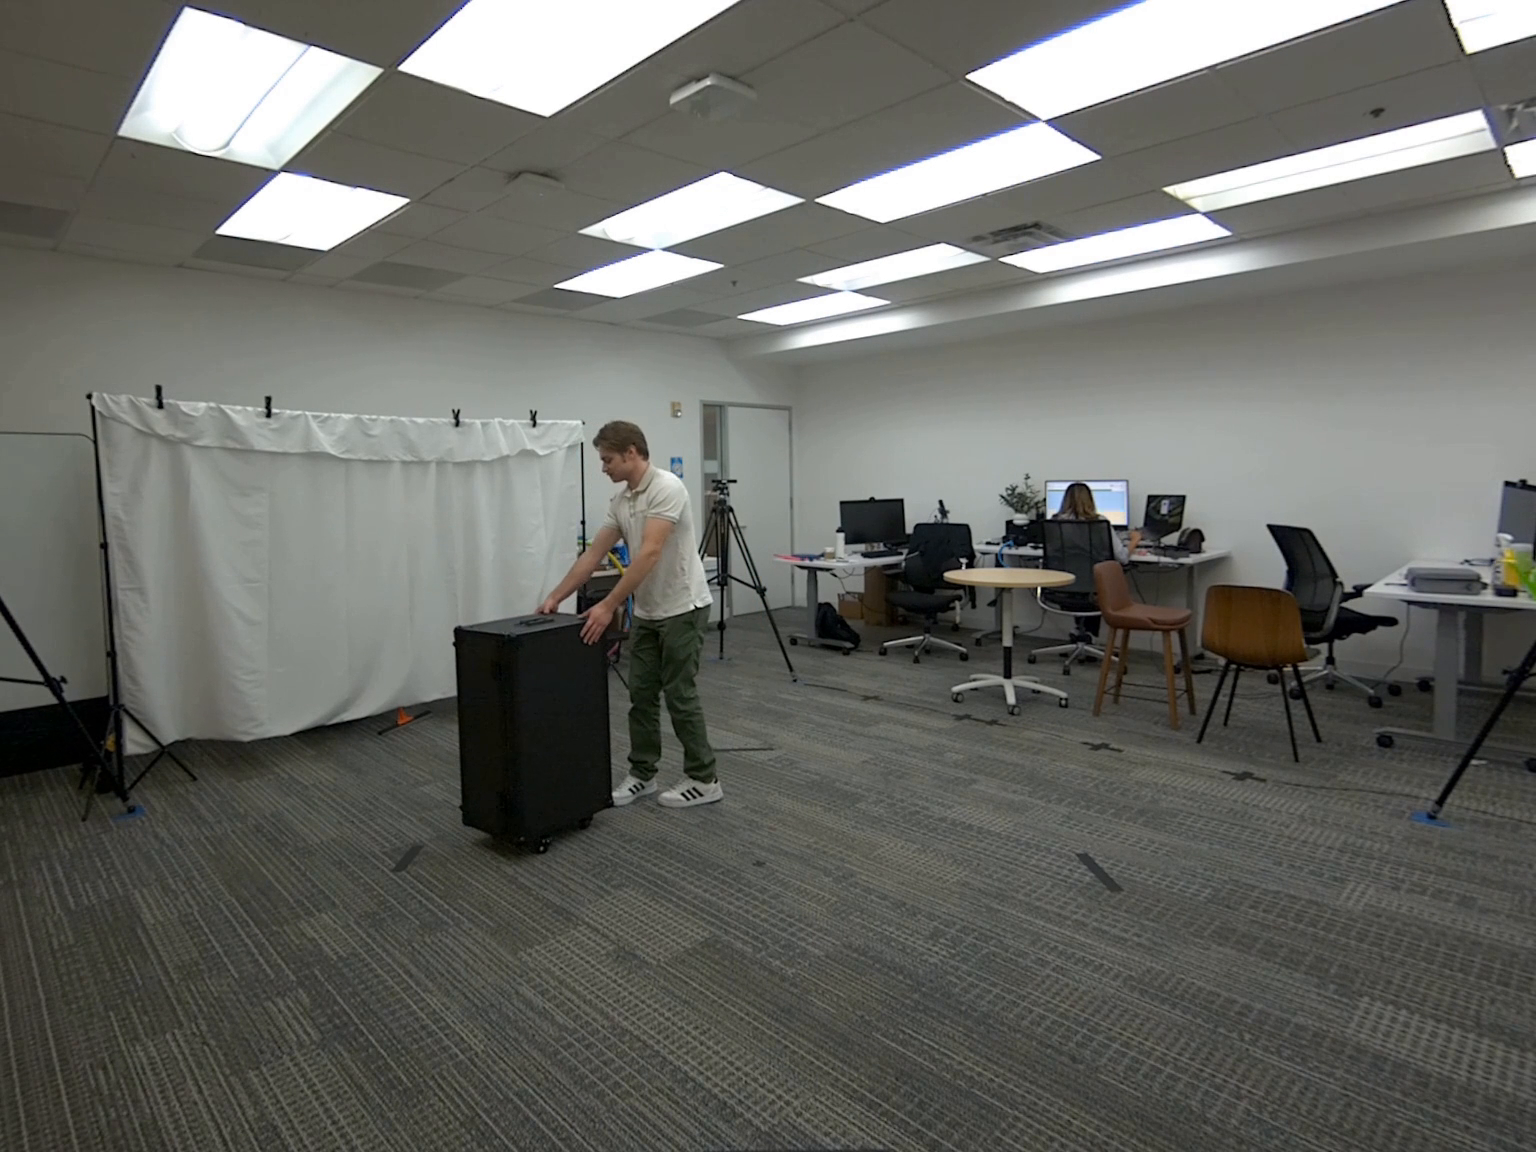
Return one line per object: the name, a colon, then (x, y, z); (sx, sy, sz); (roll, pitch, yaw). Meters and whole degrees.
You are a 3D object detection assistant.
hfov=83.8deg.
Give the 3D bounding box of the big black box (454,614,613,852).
big black box: (-0.937, 0.610, 3.404); (0.396, 0.866, 0.510); (1, 4, 36)
